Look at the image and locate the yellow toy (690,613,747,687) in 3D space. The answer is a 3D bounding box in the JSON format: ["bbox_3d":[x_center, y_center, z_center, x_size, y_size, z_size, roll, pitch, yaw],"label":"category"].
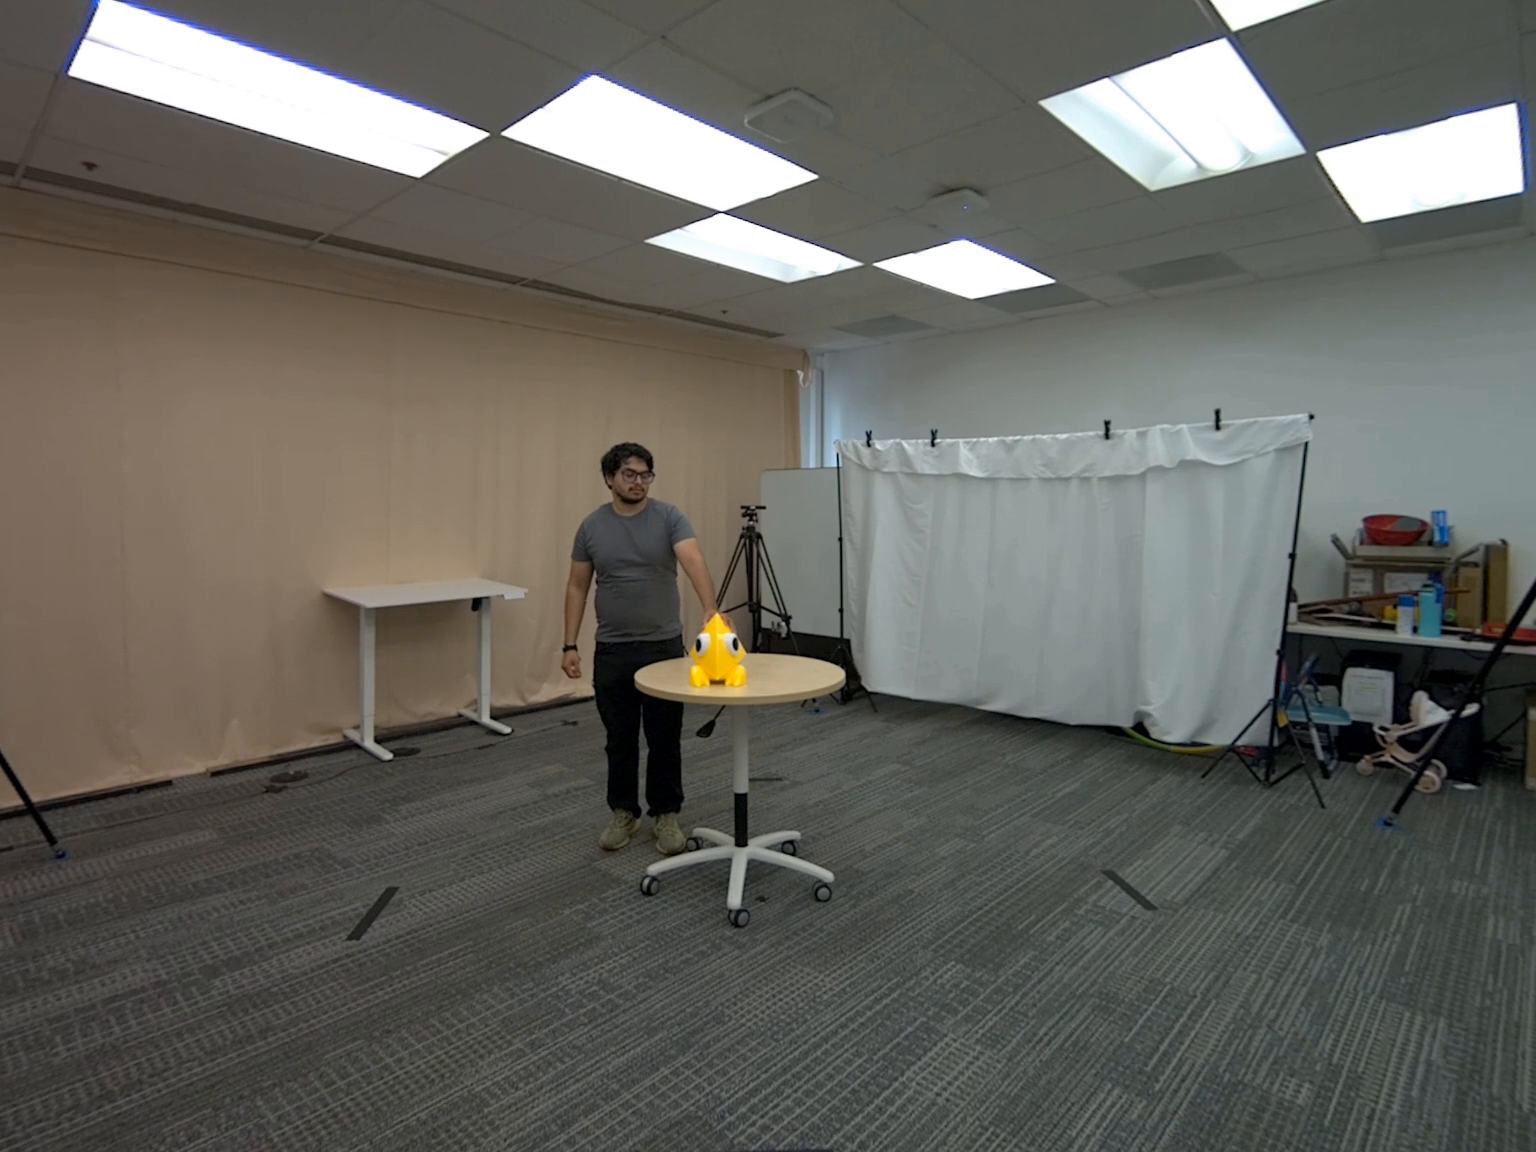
[{"bbox_3d":[-0.175,0.253,2.932,0.205,0.230,0.193,0,2,0],"label":"yellow toy"}]
